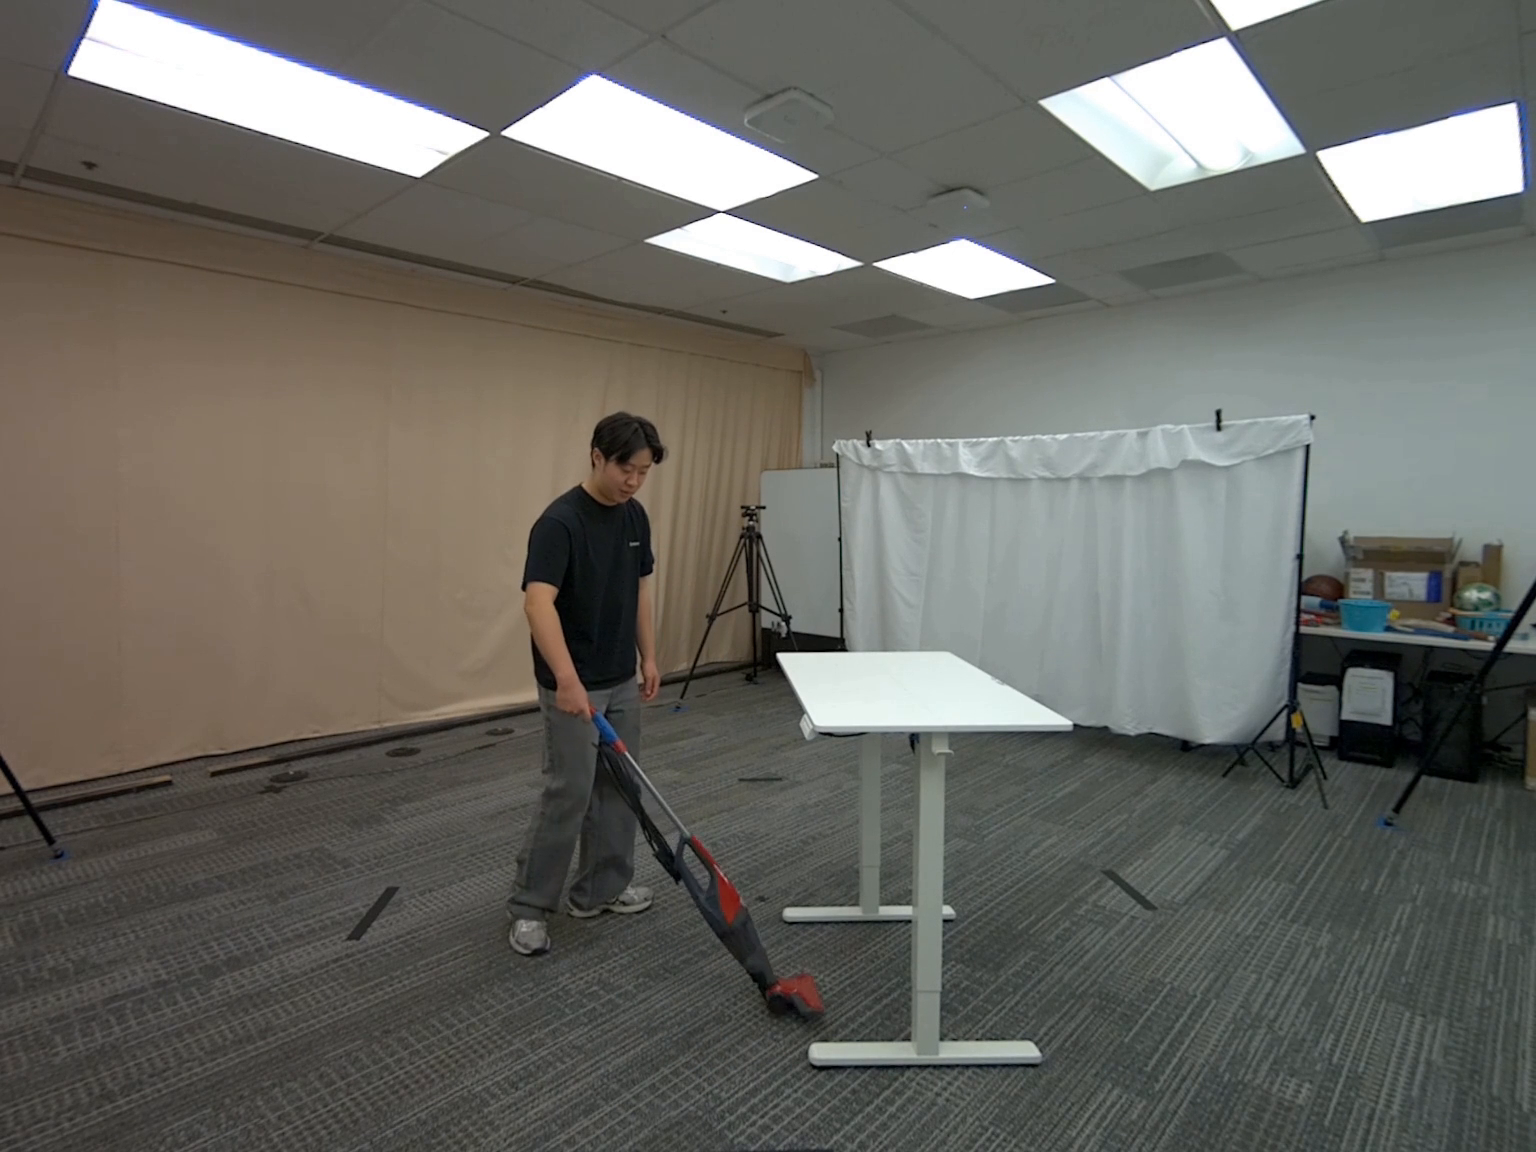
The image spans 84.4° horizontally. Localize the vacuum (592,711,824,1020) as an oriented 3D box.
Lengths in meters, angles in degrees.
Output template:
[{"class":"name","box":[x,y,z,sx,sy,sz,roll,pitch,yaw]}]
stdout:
[{"class":"vacuum","box":[-0.255,0.771,2.389,0.144,1.056,0.251,-39,-5,-3]}]
